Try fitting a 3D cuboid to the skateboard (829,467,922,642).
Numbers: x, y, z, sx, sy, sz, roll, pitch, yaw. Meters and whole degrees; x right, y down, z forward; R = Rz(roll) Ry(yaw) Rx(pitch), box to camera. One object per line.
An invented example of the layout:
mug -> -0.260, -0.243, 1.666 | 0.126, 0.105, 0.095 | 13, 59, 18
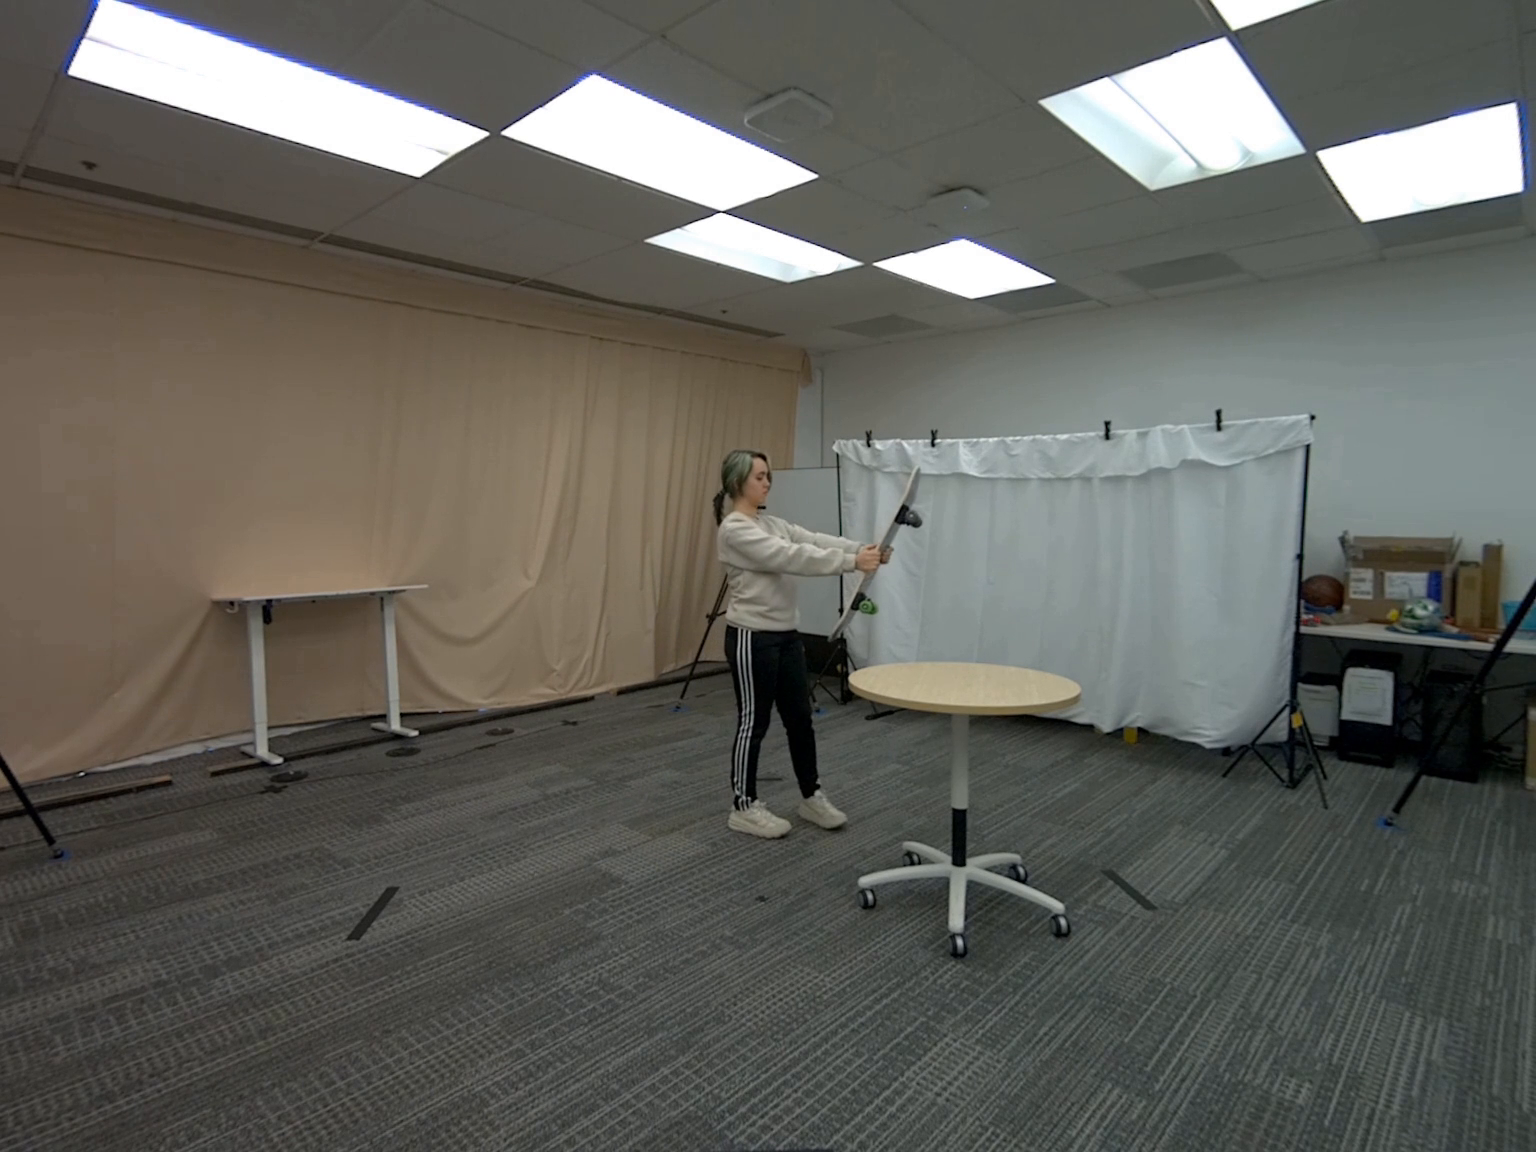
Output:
skateboard -> 0.475, -0.063, 3.389 | 0.113, 0.785, 0.189 | 27, 3, 19
